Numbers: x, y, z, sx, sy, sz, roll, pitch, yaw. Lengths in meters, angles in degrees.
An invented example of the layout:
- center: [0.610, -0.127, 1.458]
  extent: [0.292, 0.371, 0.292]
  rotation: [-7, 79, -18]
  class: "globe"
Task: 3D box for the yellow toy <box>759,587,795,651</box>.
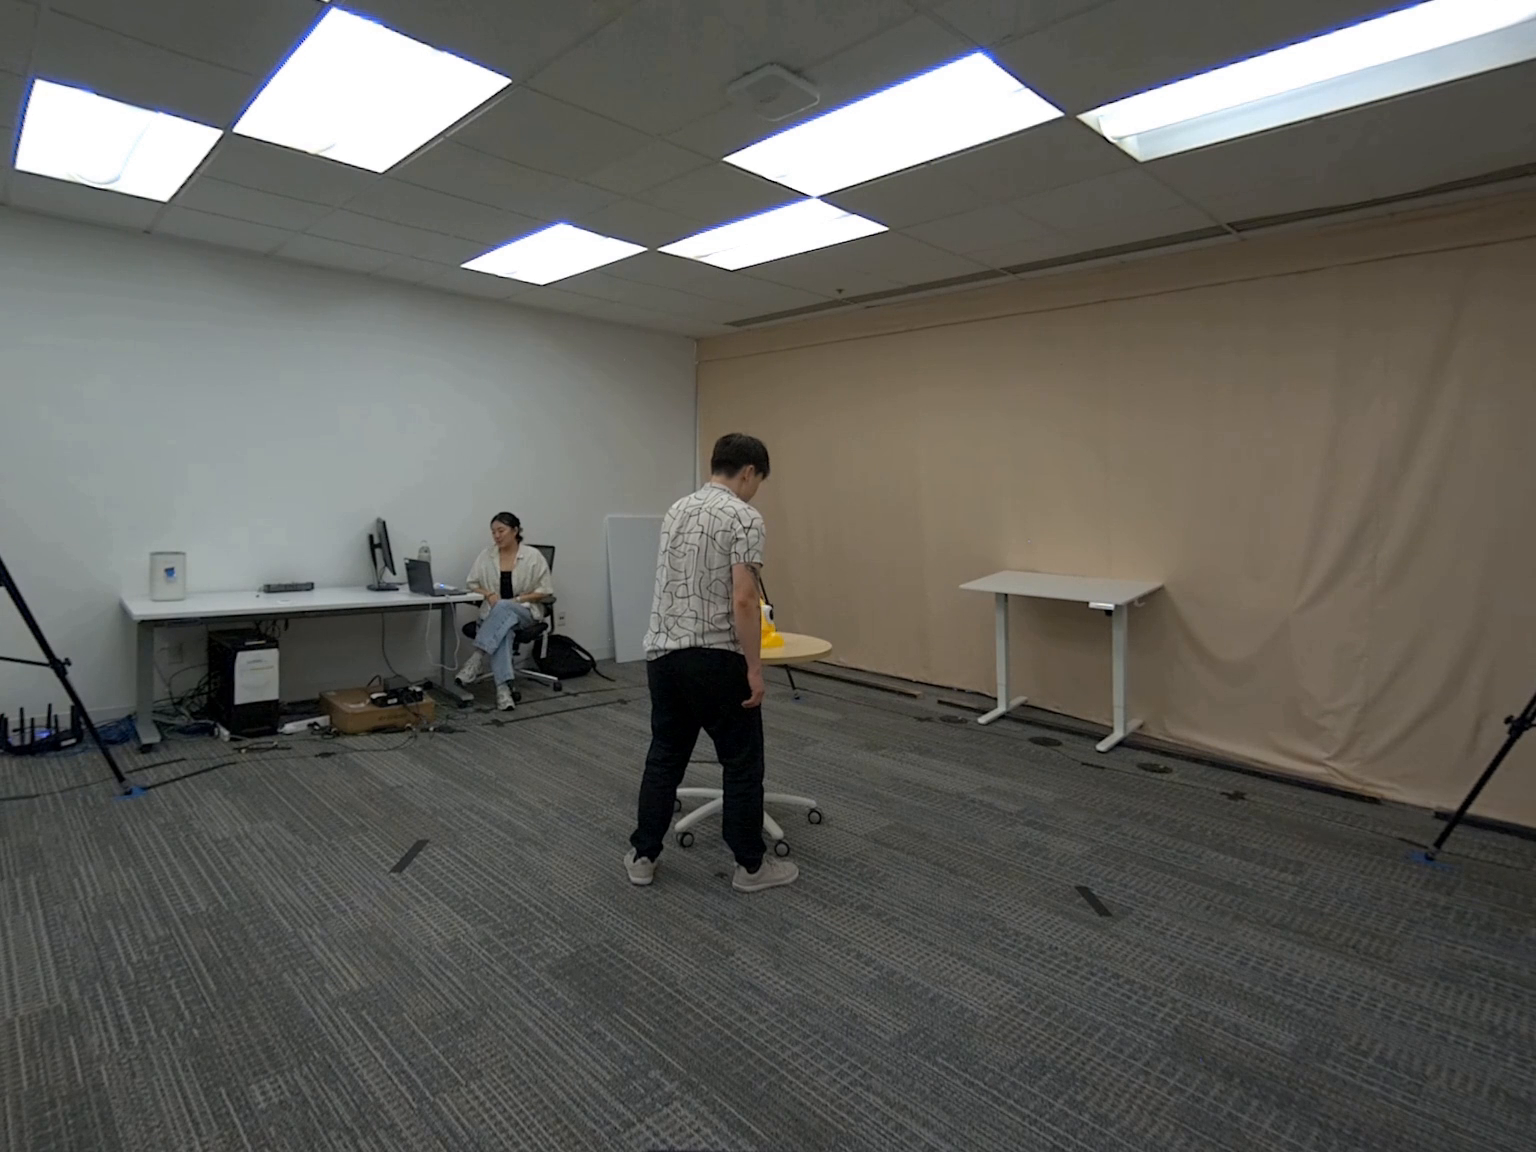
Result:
- center: [-0.037, 0.174, 3.523]
  extent: [0.188, 0.230, 0.210]
  rotation: [-1, 4, -39]
  class: "yellow toy"
